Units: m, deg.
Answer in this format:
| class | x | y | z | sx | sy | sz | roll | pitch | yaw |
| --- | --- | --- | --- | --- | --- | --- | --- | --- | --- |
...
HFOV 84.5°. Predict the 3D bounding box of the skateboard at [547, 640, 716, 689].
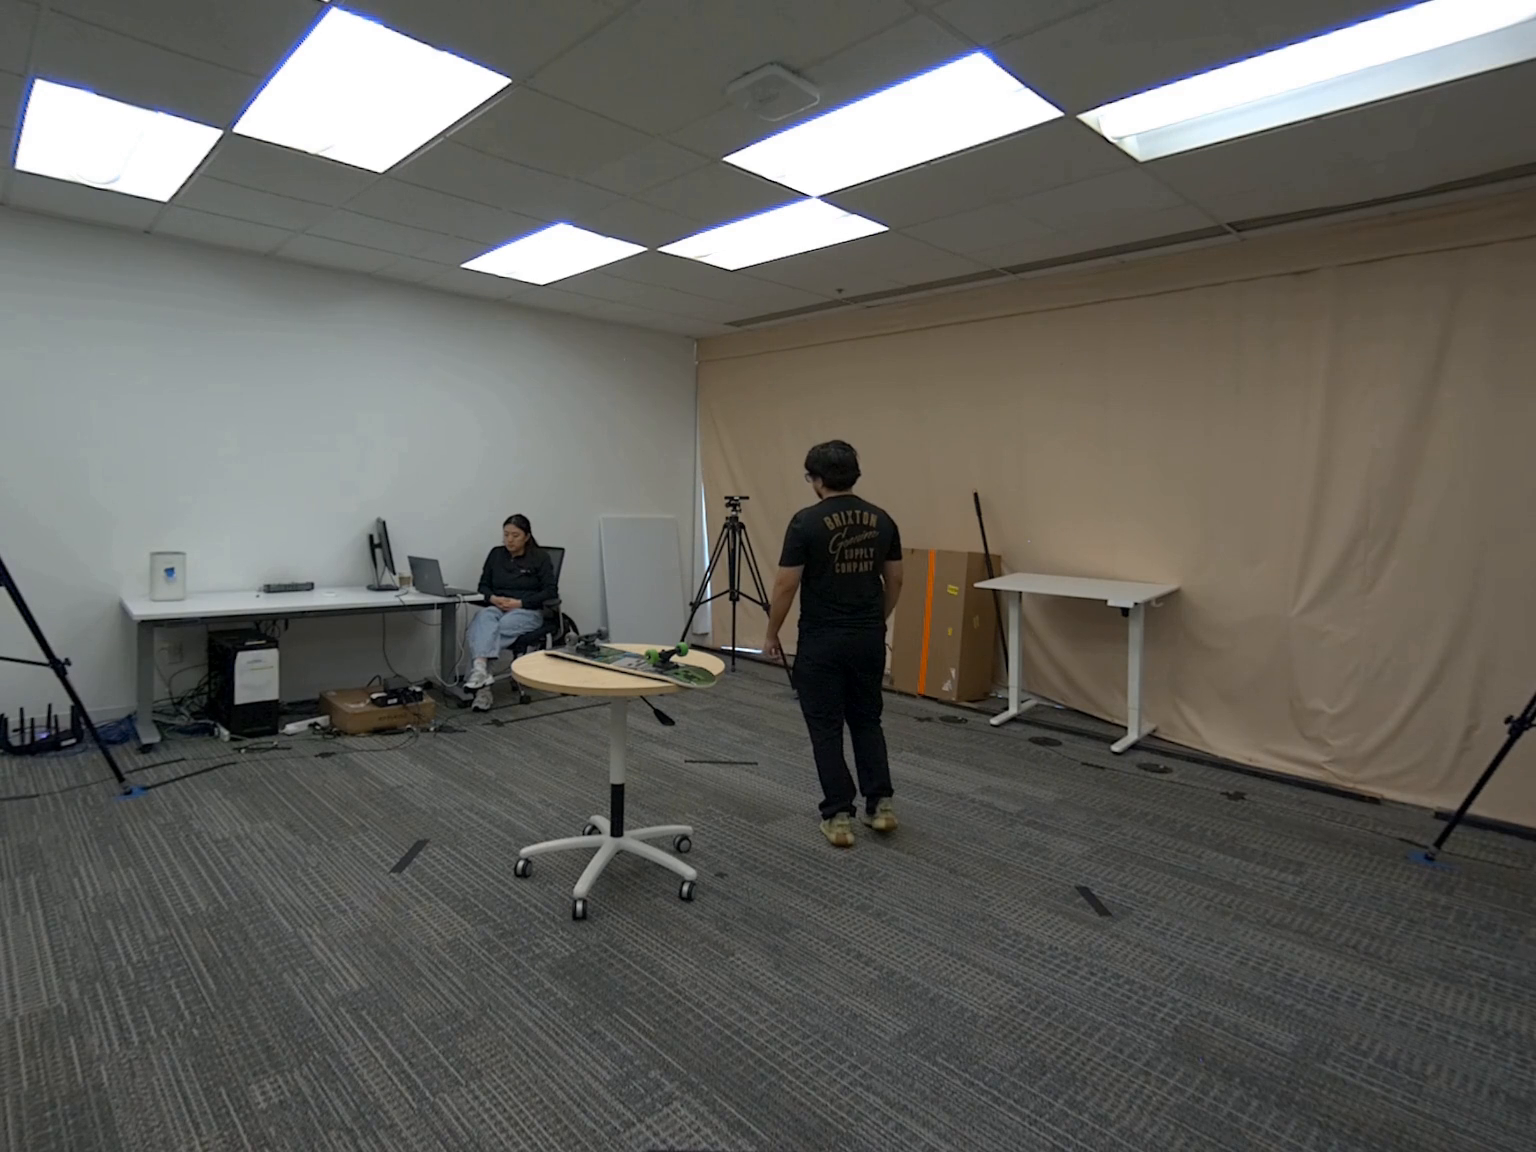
| class | x | y | z | sx | sy | sz | roll | pitch | yaw |
| --- | --- | --- | --- | --- | --- | --- | --- | --- | --- |
| skateboard | -0.525 | 0.279 | 3.008 | 0.806 | 0.110 | 0.189 | 7 | 6 | 38 |
